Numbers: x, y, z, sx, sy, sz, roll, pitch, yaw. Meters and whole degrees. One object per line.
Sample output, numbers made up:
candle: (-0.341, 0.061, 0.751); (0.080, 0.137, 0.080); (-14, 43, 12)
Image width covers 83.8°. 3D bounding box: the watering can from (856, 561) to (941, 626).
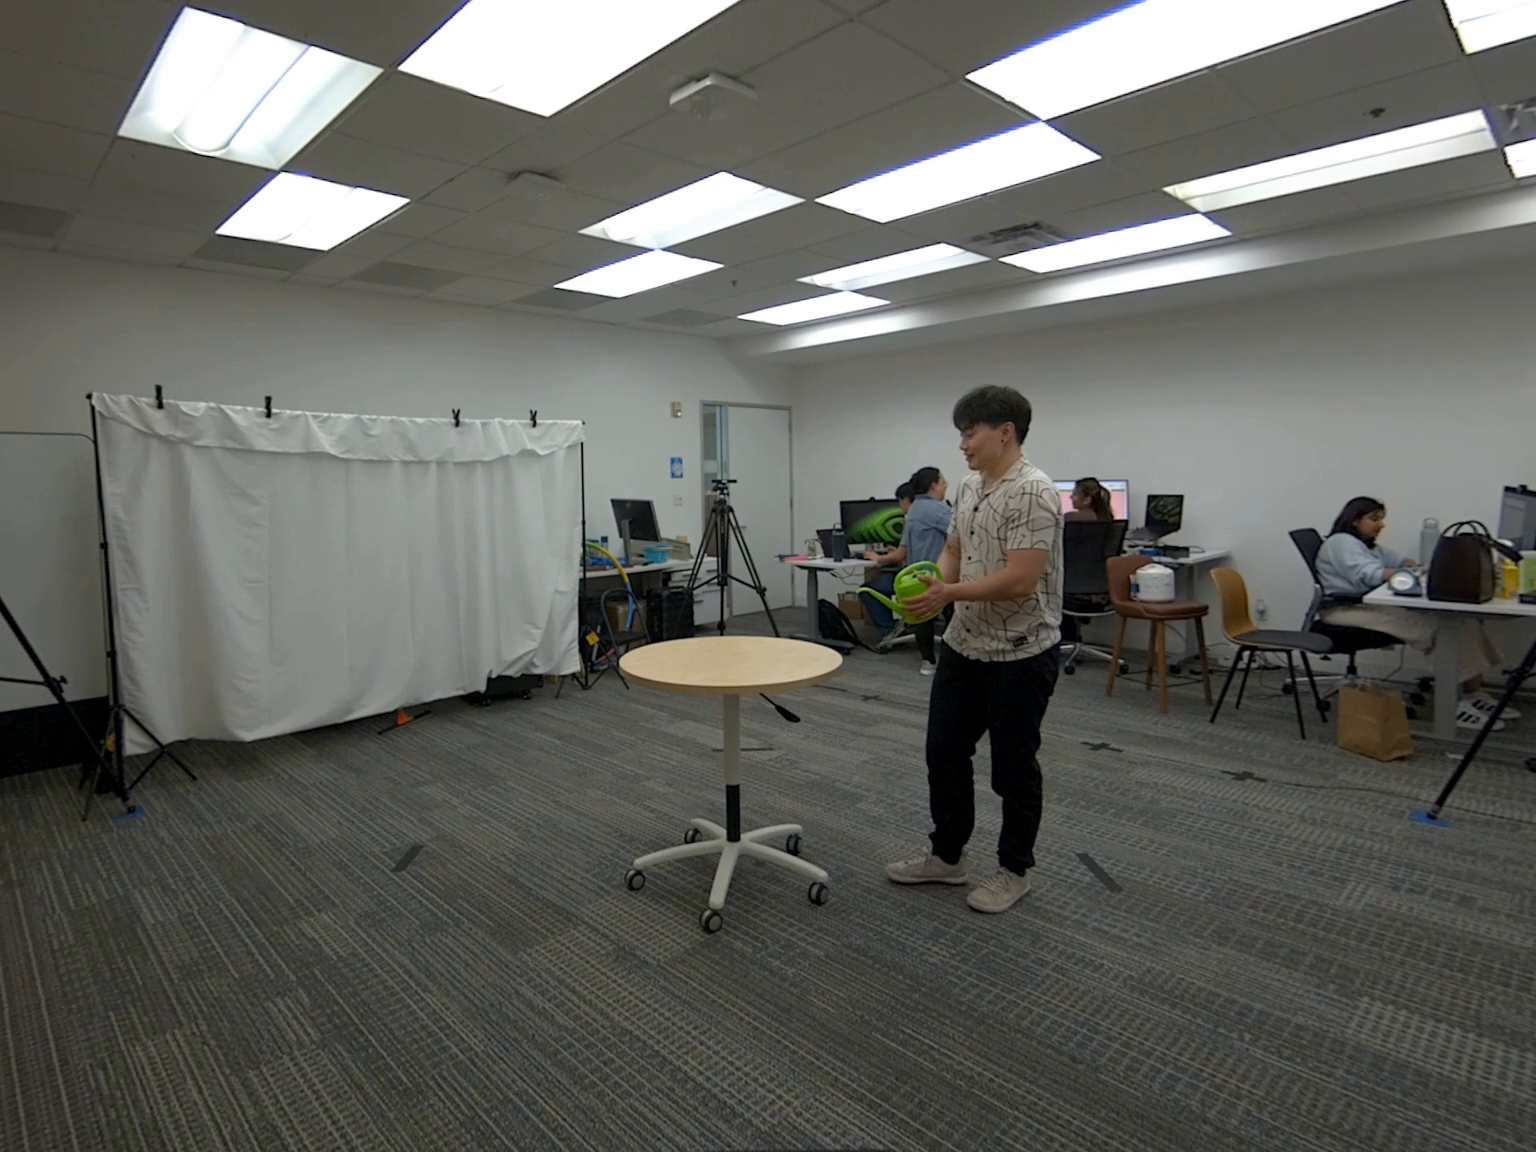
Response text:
watering can: (0.442, 0.064, 2.739); (0.280, 0.174, 0.099); (-19, 13, 9)
